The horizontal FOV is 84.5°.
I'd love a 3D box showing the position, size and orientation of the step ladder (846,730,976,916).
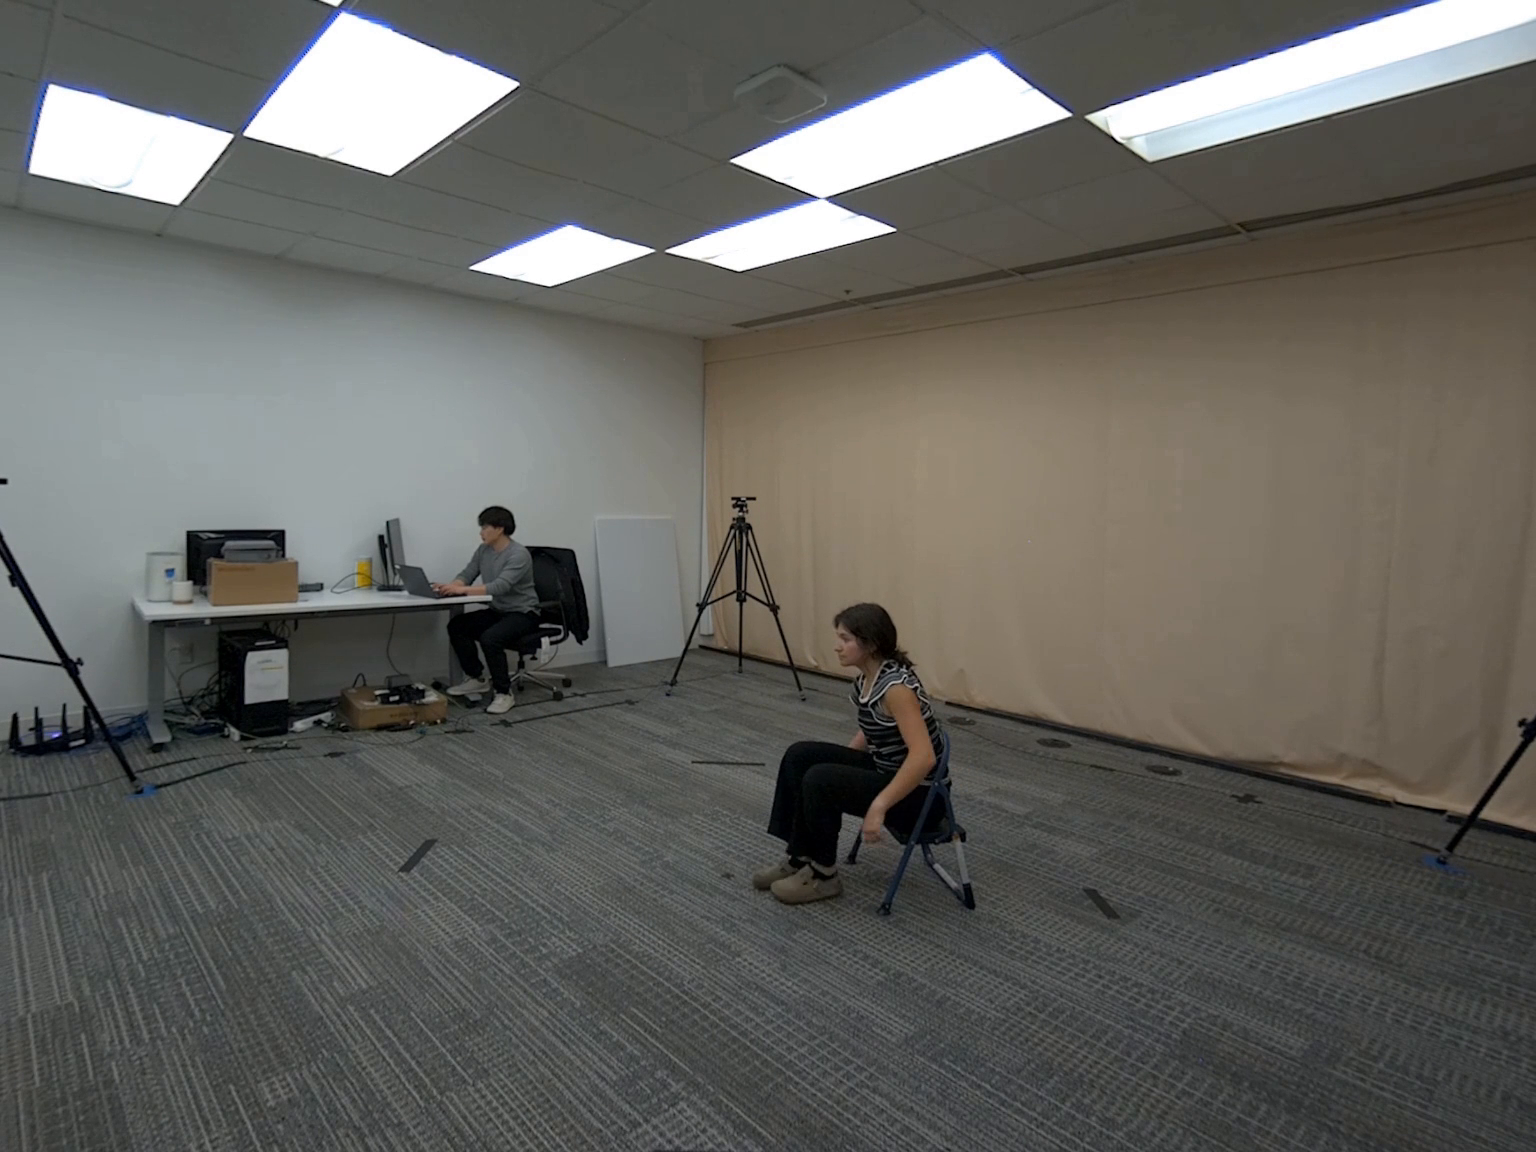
[{"bbox_3d":[0.507,0.831,3.056,0.346,0.604,0.435,0,4,-11],"label":"step ladder"}]
